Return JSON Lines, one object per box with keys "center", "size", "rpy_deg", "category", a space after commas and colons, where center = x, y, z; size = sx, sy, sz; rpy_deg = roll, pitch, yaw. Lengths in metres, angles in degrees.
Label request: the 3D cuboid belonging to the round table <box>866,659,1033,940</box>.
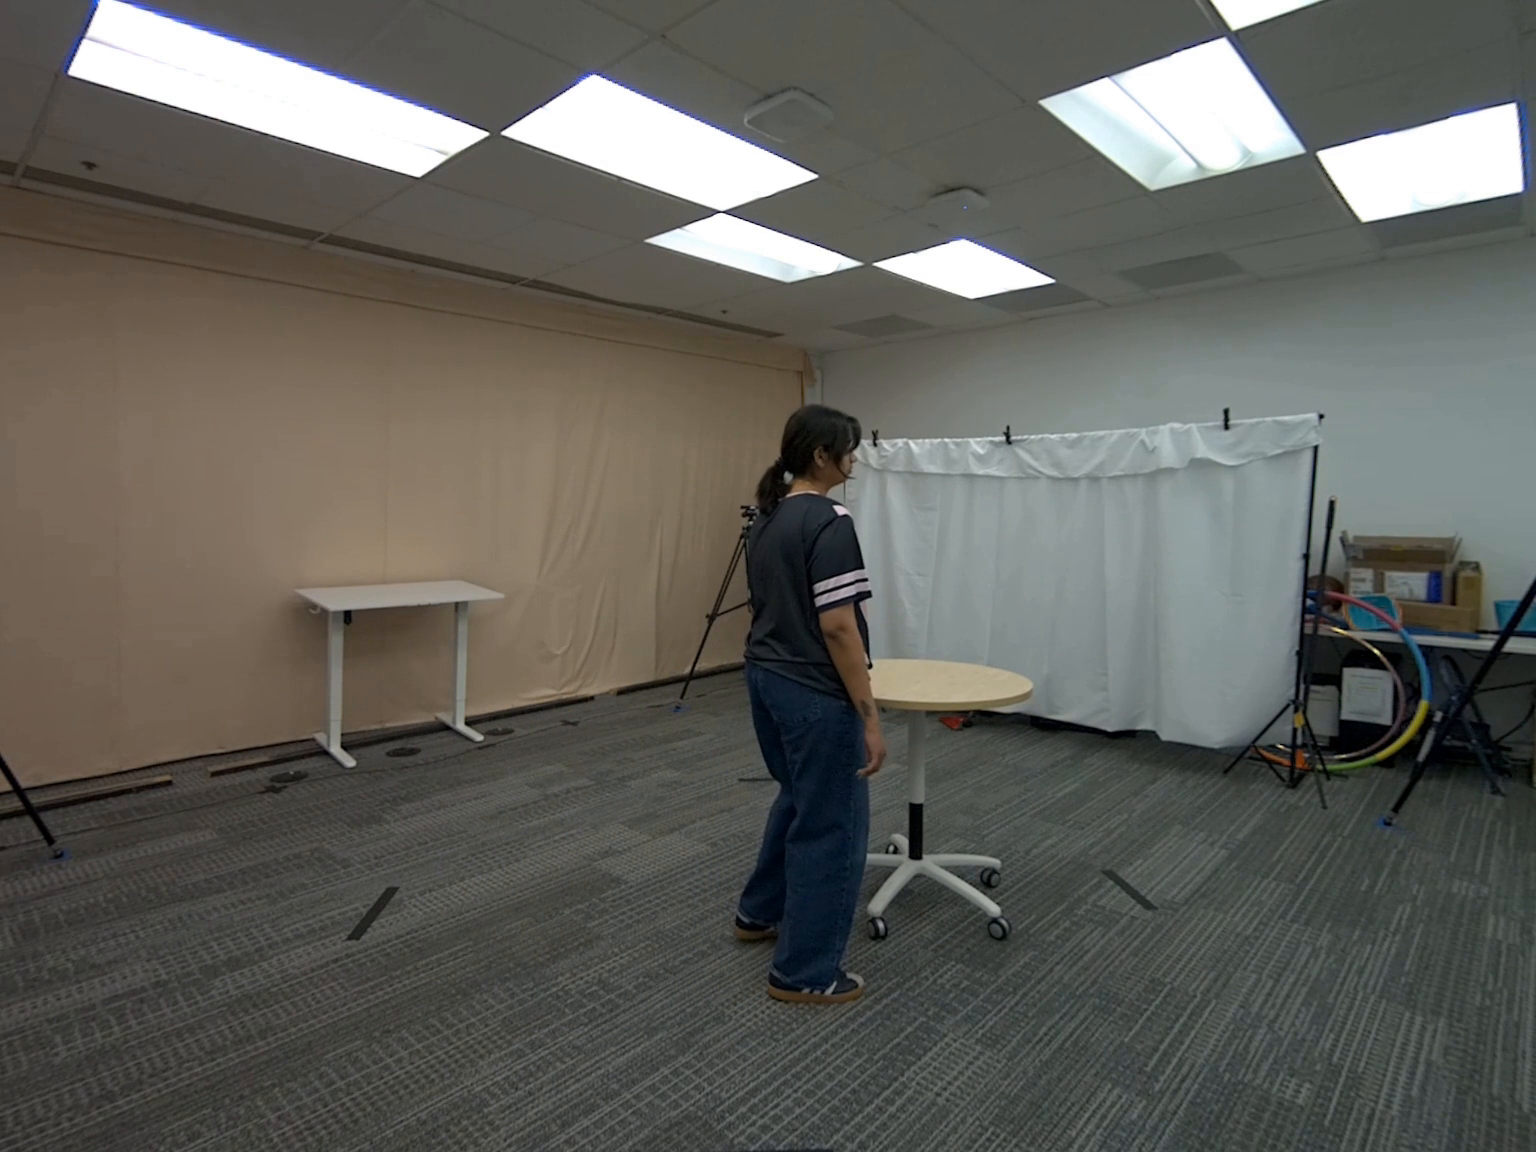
{"center": [0.529, 0.753, 2.973], "size": [0.763, 0.792, 0.766], "rpy_deg": [0, 3, -2], "category": "round table"}
